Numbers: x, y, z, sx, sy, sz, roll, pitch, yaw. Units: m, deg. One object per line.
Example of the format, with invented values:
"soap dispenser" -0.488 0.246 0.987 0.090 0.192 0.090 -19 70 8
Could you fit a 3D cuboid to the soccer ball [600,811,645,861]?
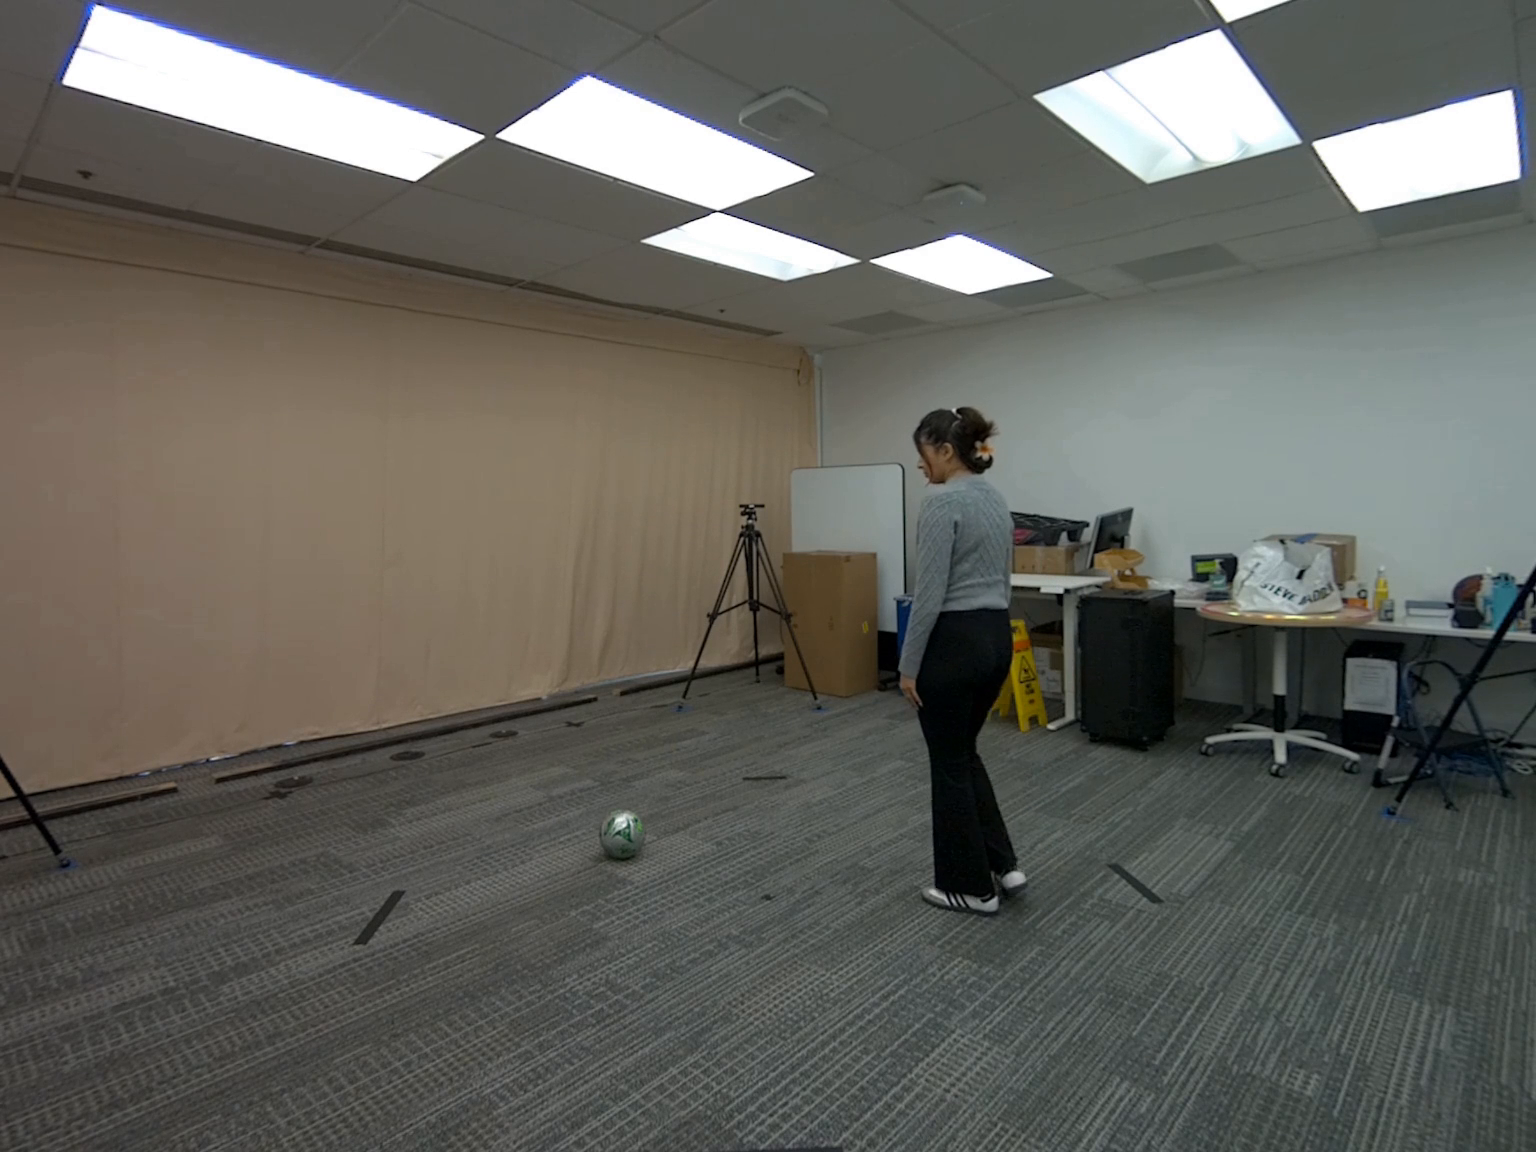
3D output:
"soccer ball" -0.580 1.028 3.351 0.187 0.187 0.188 -1 4 -2
